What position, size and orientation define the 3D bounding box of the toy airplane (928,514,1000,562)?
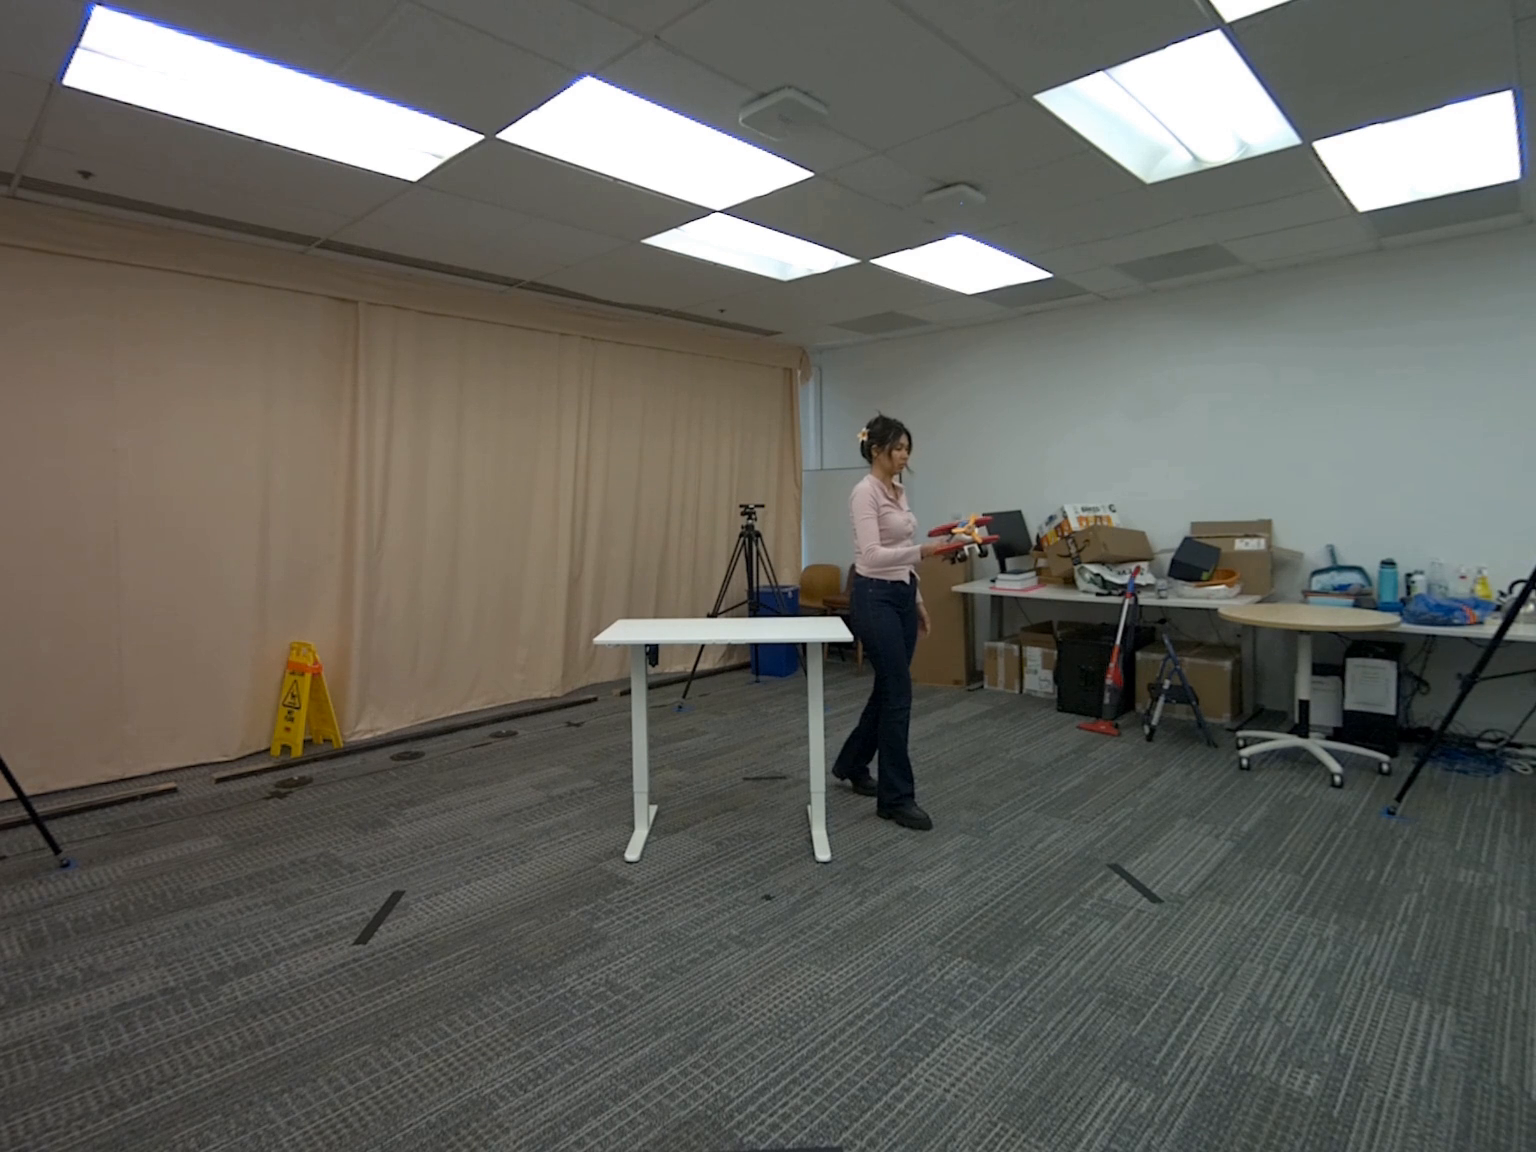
[{"bbox_3d":[0.731,-0.127,3.278,0.244,0.157,0.265,-11,-3,-35],"label":"toy airplane"}]
